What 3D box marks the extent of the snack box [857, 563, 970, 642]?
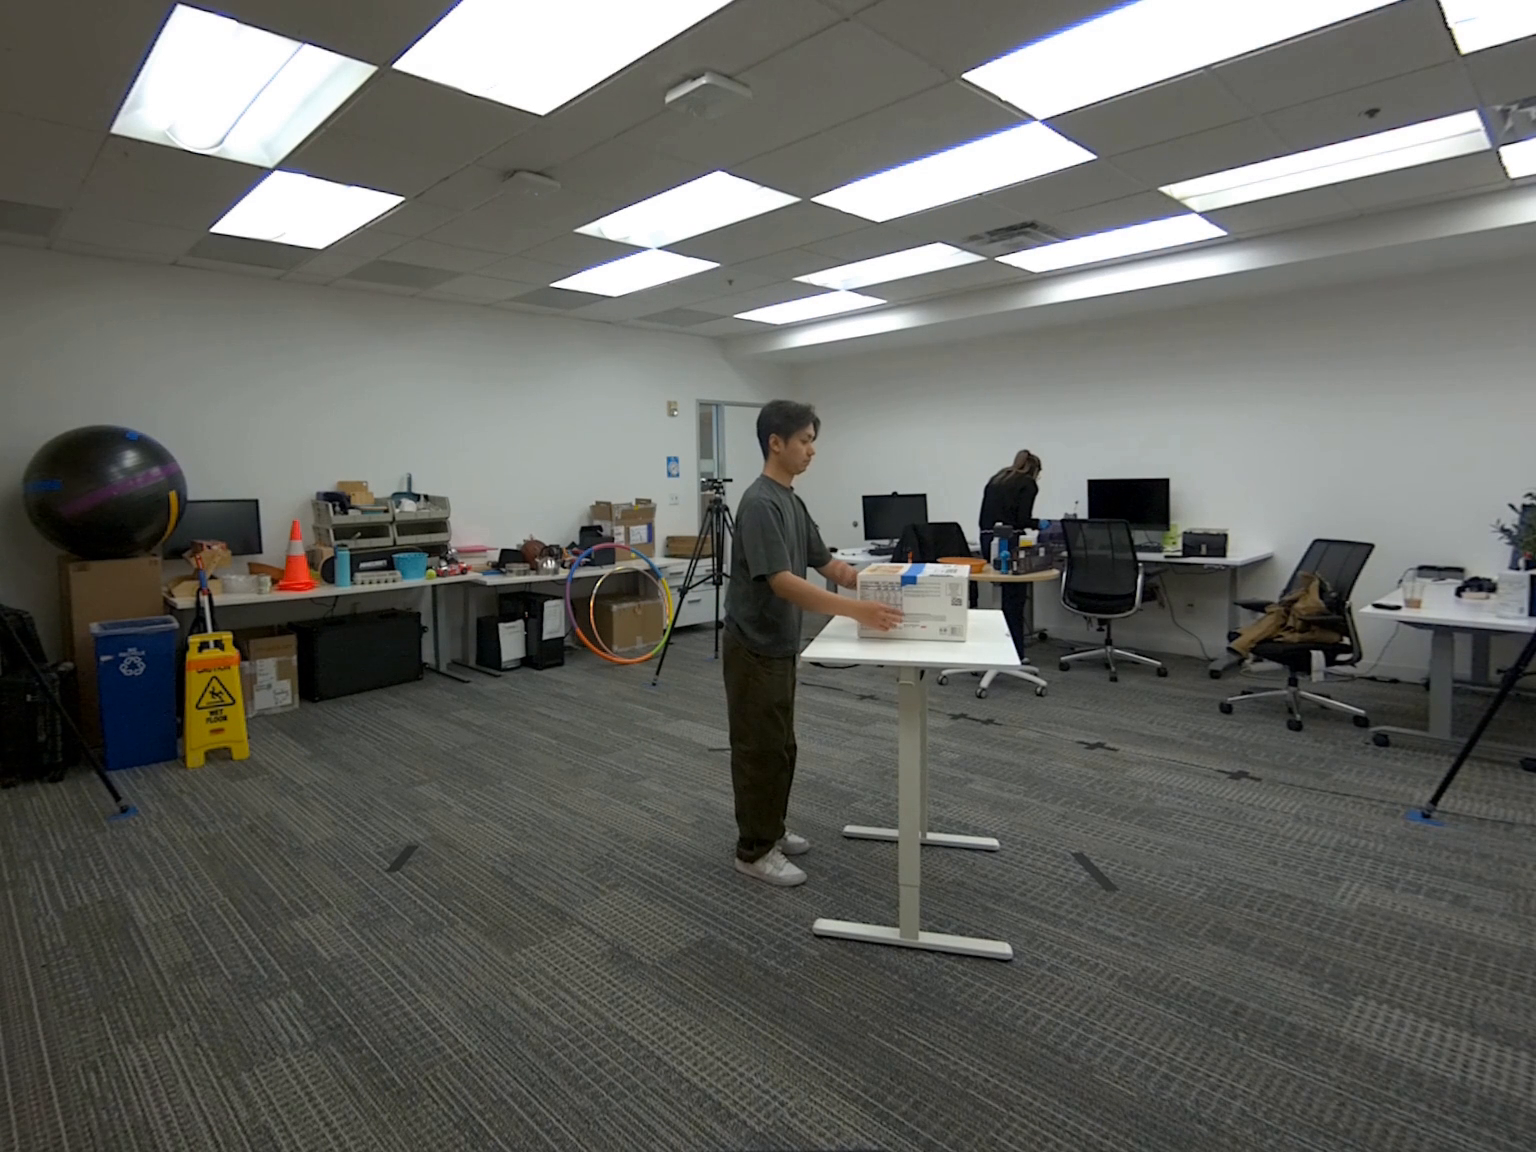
[{"bbox_3d":[0.495,0.080,2.858,0.346,0.205,0.400,1,6,16],"label":"snack box"}]
